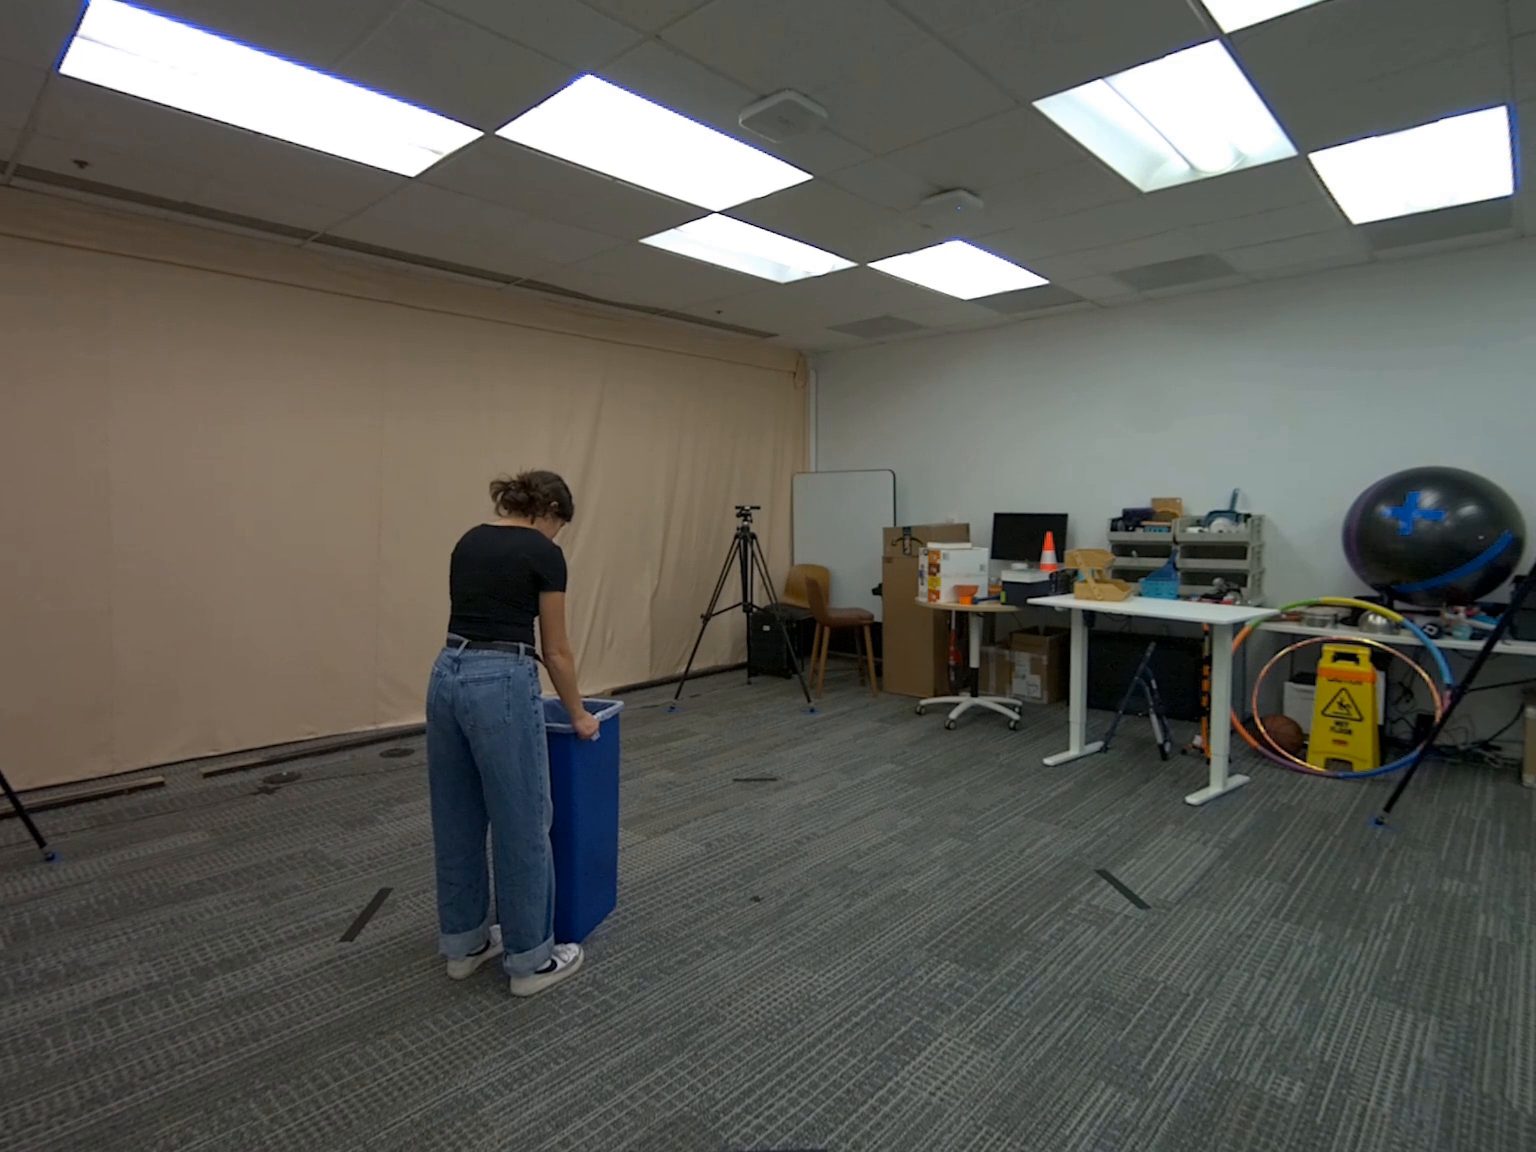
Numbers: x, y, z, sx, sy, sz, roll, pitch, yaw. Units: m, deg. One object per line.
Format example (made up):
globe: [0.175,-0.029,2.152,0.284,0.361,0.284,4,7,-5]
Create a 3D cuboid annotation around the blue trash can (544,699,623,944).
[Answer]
blue trash can: [-0.719,0.804,2.835,0.381,0.712,0.372,1,3,17]
